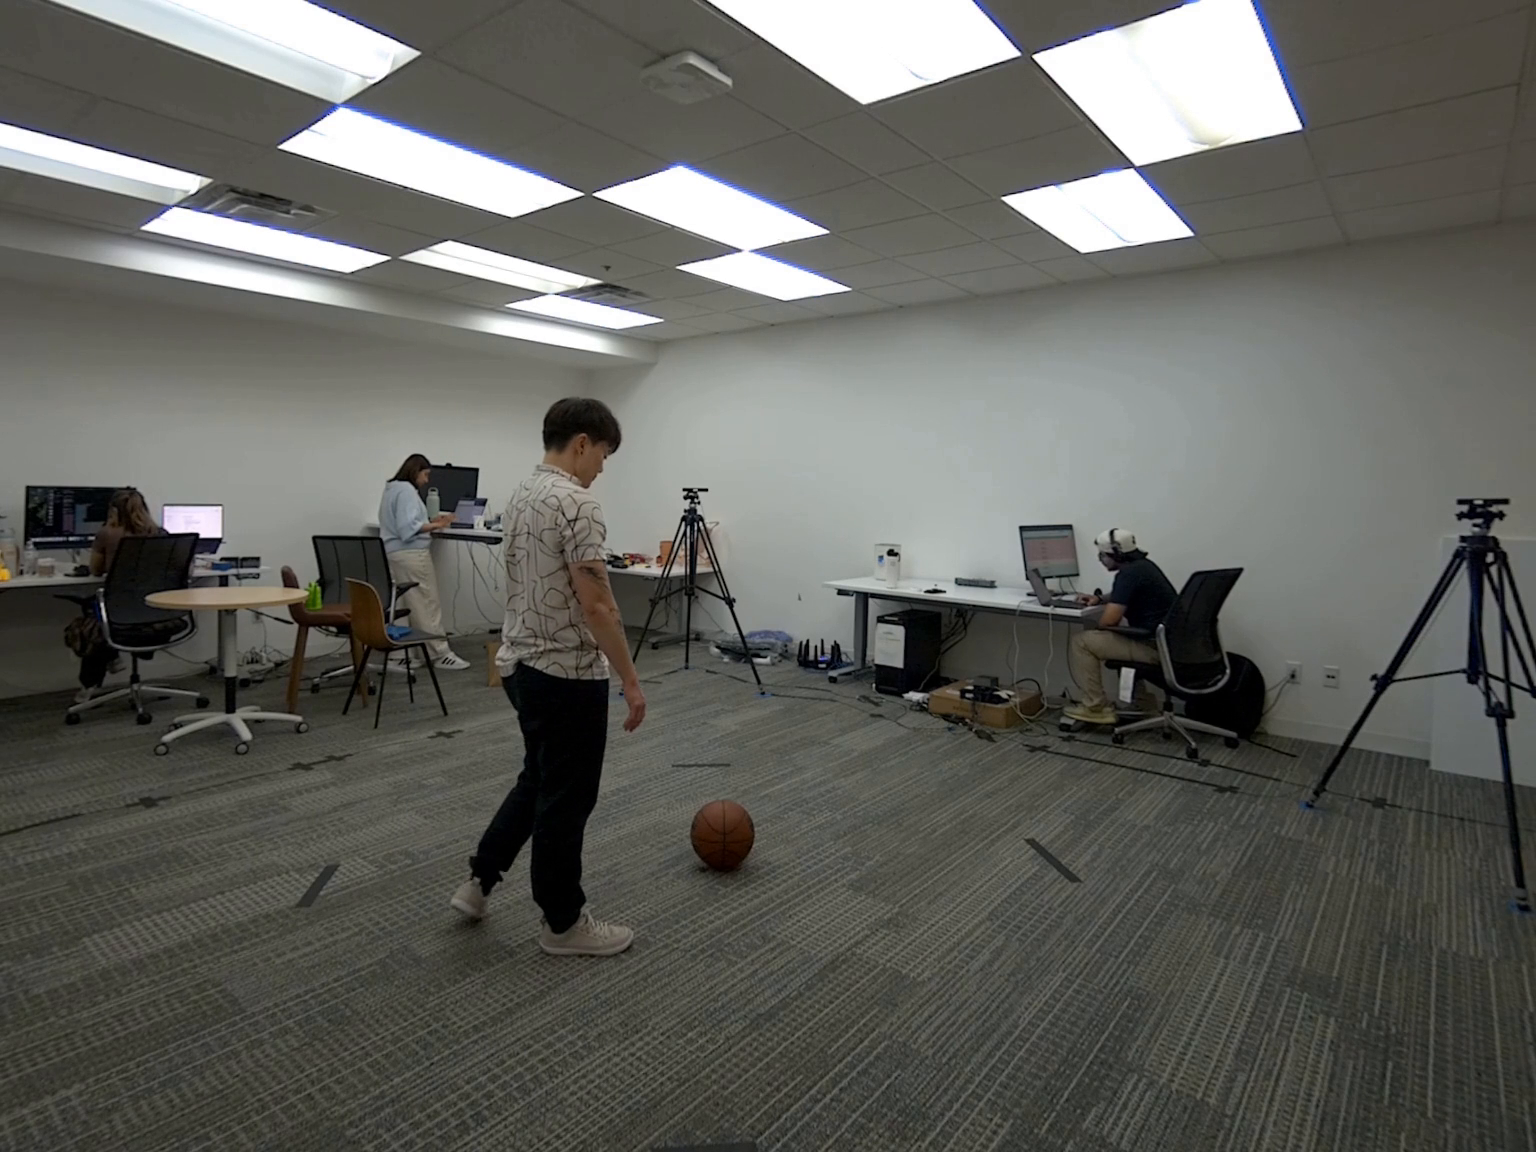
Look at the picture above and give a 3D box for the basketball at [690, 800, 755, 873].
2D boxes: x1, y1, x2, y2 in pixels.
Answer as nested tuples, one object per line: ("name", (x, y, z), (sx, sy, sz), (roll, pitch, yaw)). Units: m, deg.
("basketball", (-0.175, 0.943, 3.139), (0.235, 0.235, 0.237), (1, 4, -2))
